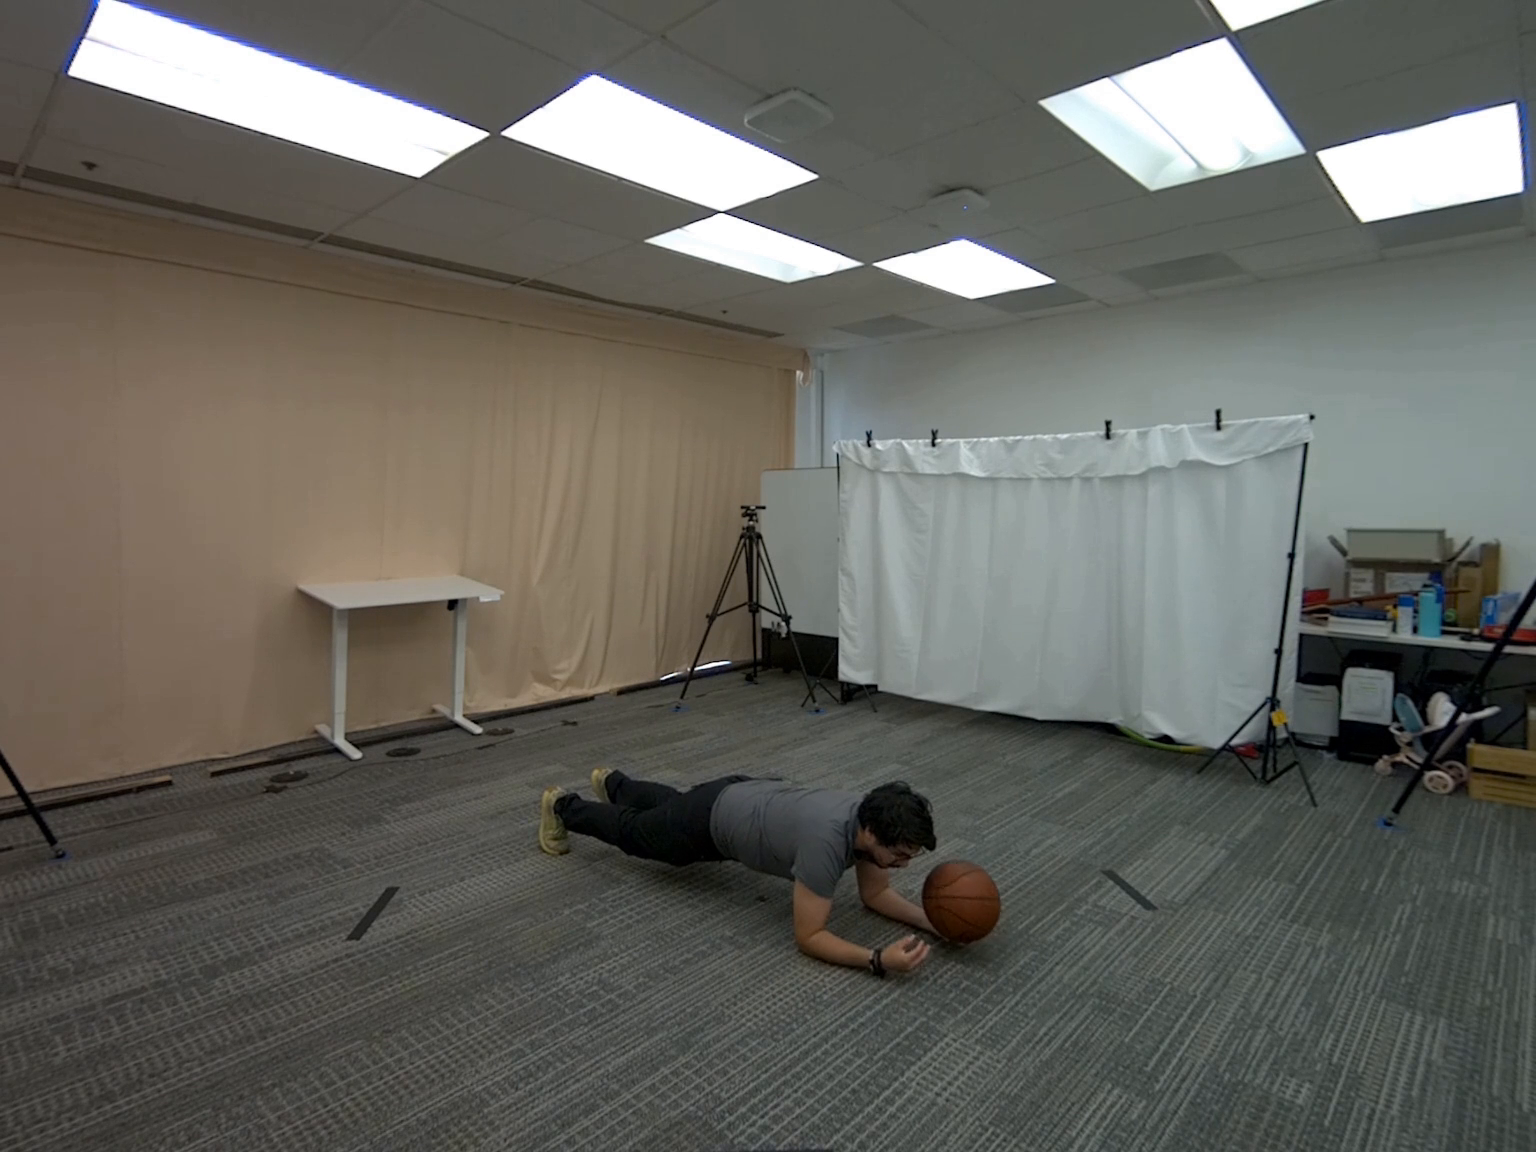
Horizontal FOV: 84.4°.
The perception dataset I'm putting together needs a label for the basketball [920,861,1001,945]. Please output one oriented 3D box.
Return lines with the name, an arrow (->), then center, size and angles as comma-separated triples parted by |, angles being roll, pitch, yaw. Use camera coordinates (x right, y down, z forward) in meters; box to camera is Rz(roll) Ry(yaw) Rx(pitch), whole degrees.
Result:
basketball -> 0.610, 1.017, 2.618 | 0.236, 0.235, 0.237 | 0, 4, -2
